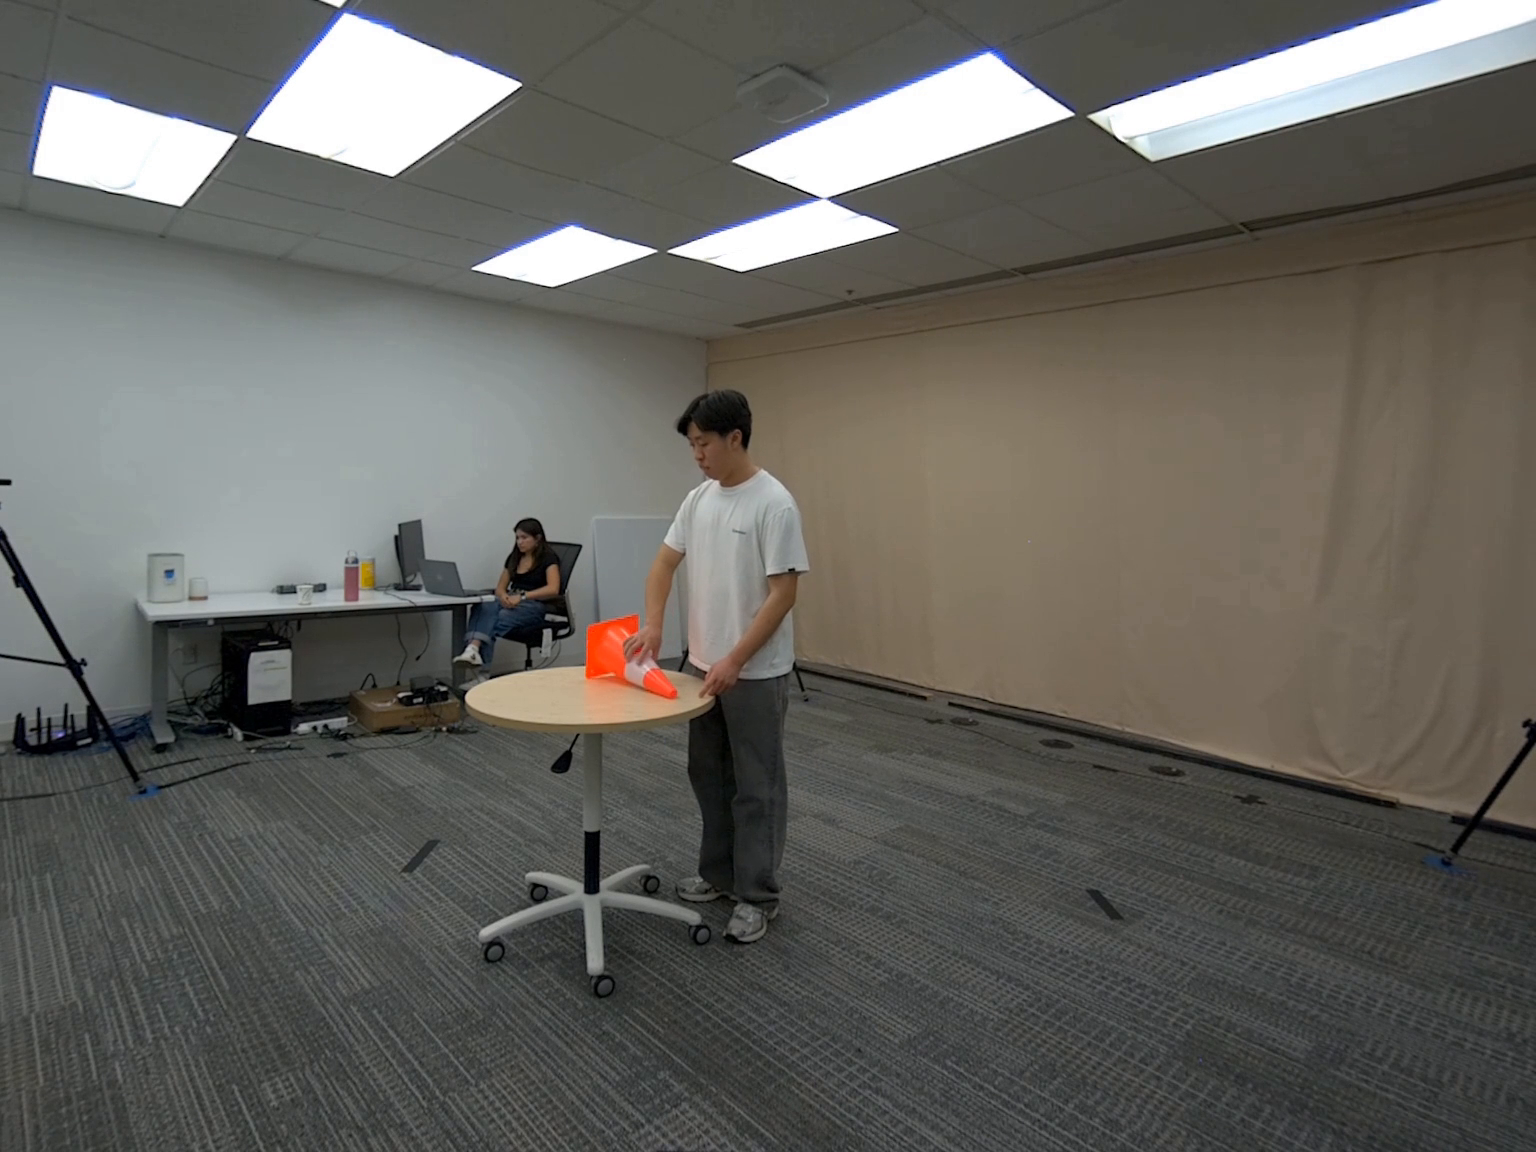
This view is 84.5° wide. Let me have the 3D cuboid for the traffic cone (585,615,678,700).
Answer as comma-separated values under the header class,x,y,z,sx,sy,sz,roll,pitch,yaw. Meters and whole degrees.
class,x,y,z,sx,sy,sz,roll,pitch,yaw
traffic cone,-0.405,0.296,2.682,0.200,0.202,0.396,-12,26,-37
